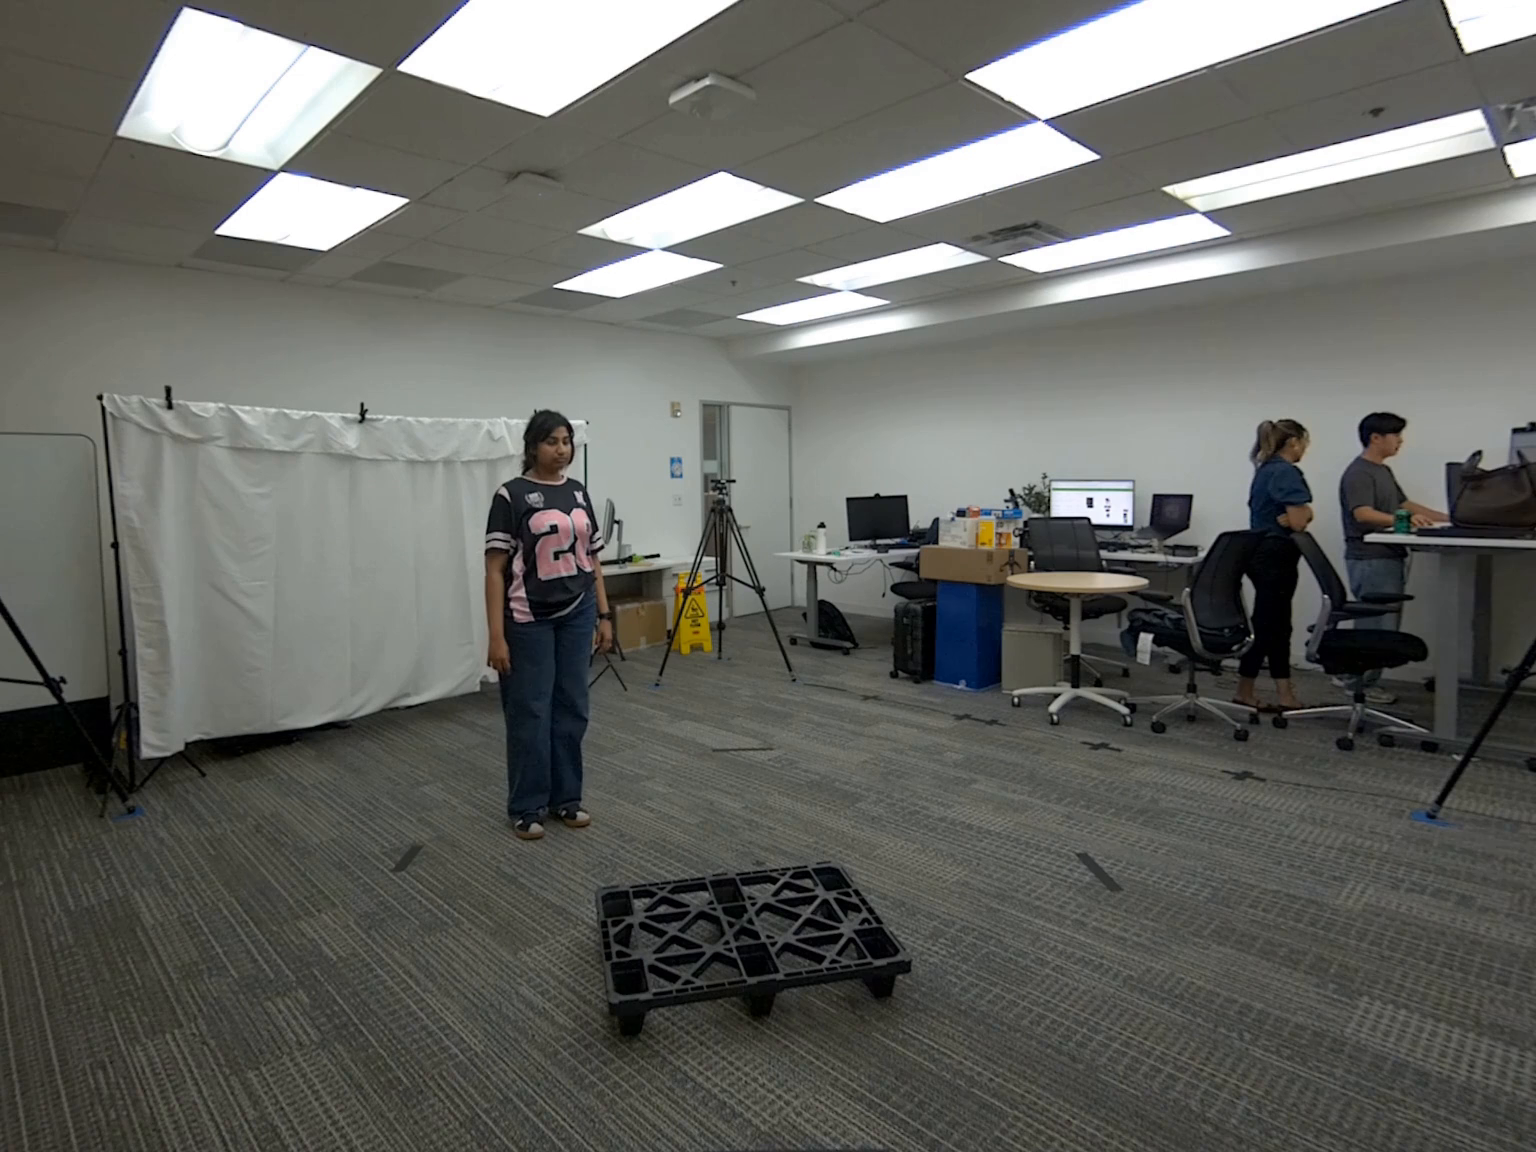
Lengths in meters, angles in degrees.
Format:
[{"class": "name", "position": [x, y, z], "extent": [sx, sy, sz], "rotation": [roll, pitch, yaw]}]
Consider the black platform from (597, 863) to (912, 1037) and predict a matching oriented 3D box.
[{"class": "black platform", "position": [-0.077, 1.058, 2.456], "extent": [0.796, 0.143, 0.615], "rotation": [-2, 6, -13]}]
